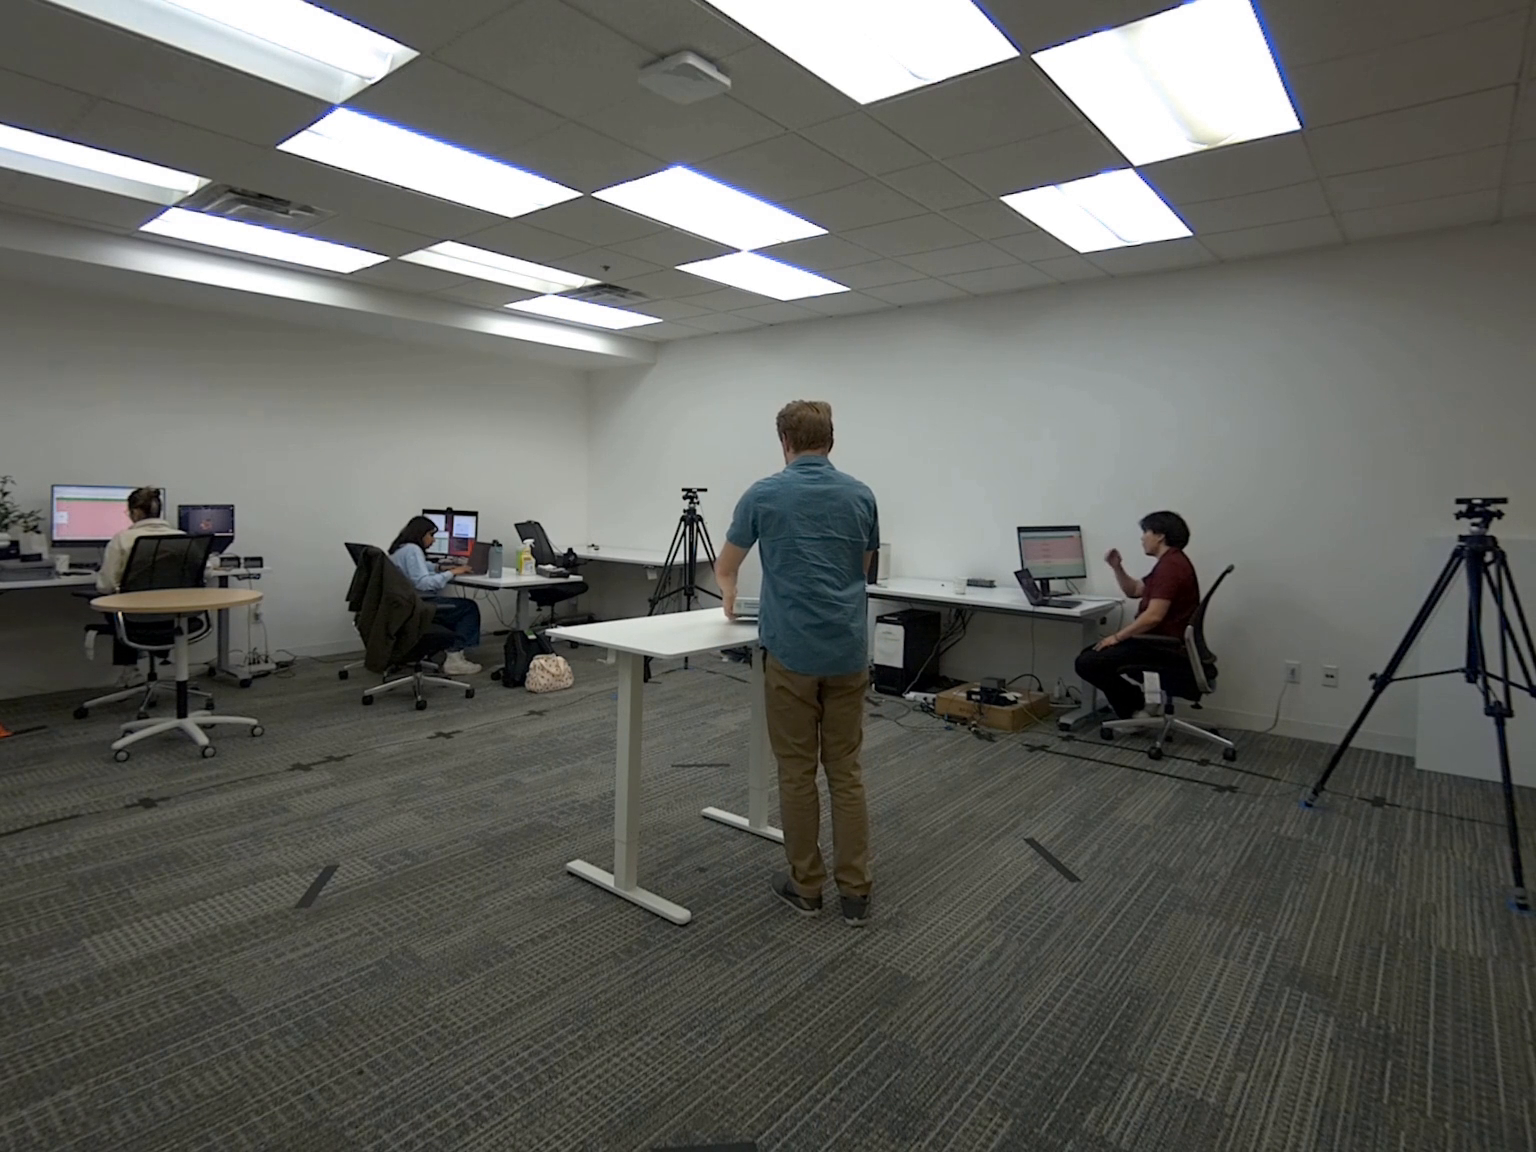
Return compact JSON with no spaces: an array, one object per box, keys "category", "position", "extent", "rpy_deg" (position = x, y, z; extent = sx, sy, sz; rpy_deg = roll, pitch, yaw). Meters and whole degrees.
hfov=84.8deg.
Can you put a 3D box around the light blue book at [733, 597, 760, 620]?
[{"category":"light blue book","position":[-0.021,0.123,3.268],"extent":[0.260,0.059,0.191],"rpy_deg":[2,-7,-5]}]
